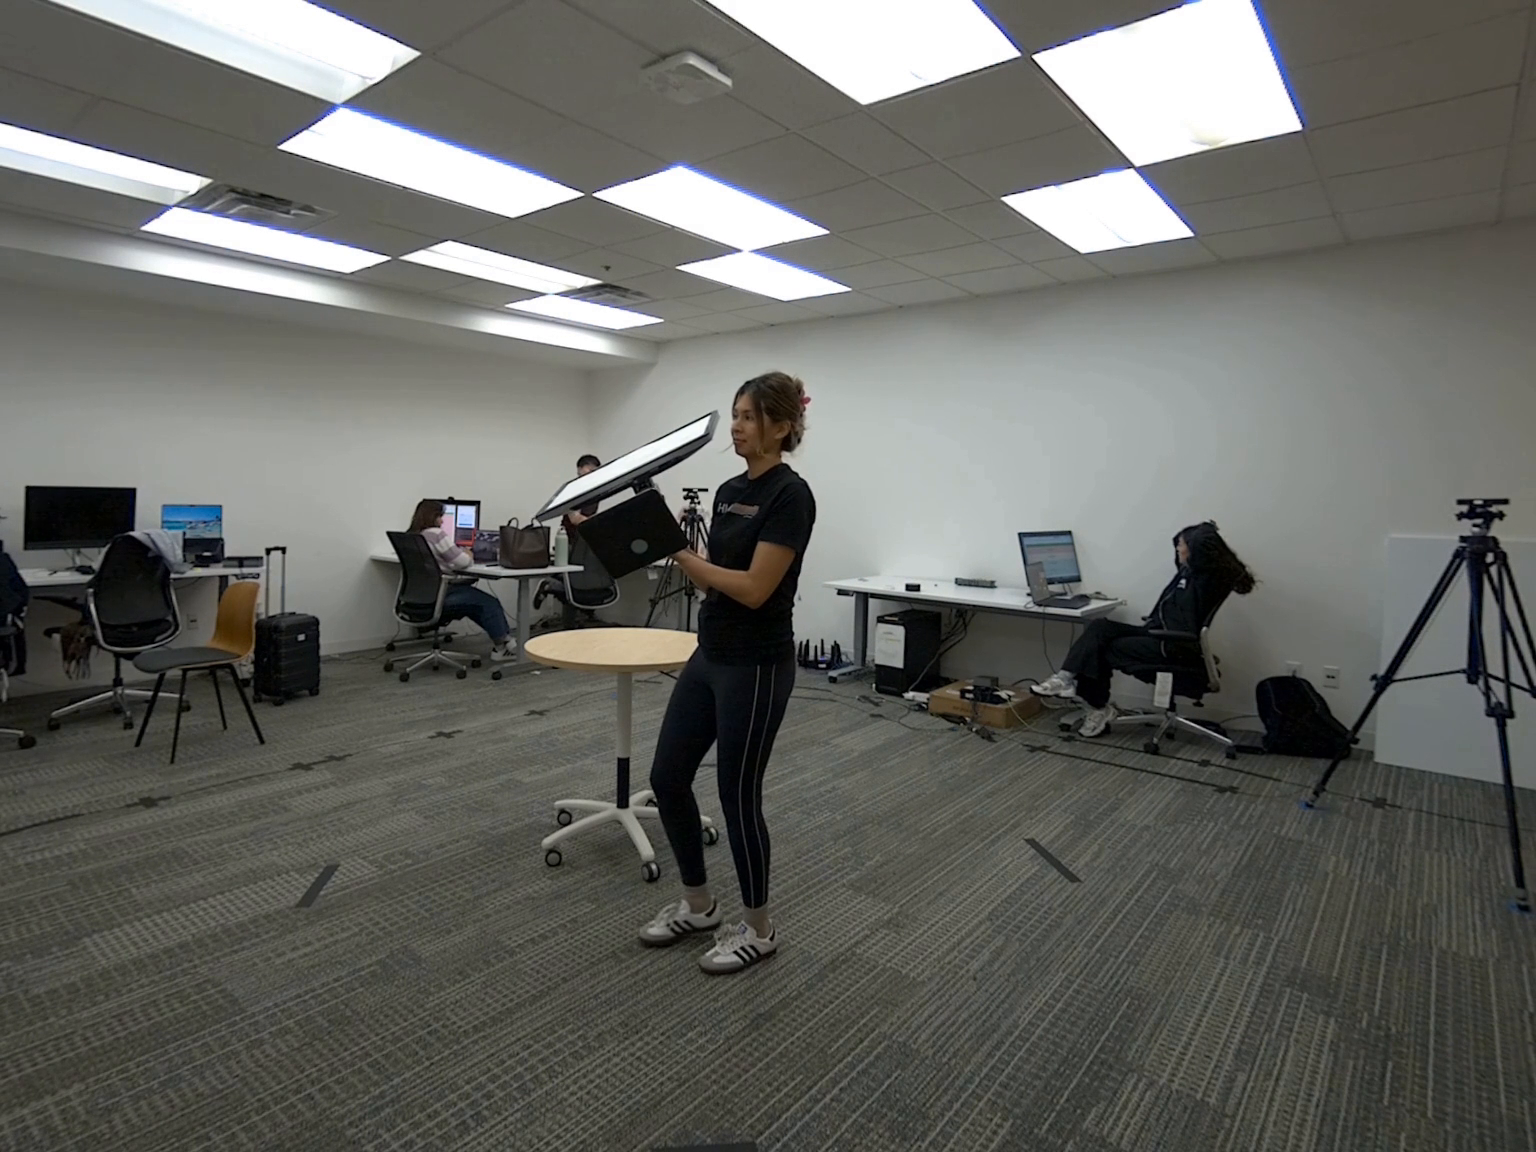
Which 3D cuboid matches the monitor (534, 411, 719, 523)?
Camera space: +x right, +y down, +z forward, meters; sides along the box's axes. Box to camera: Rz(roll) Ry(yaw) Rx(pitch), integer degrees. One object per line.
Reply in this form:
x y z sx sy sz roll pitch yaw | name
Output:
-0.409 -0.260 2.486 0.542 0.181 0.537 -21 32 10 | monitor
